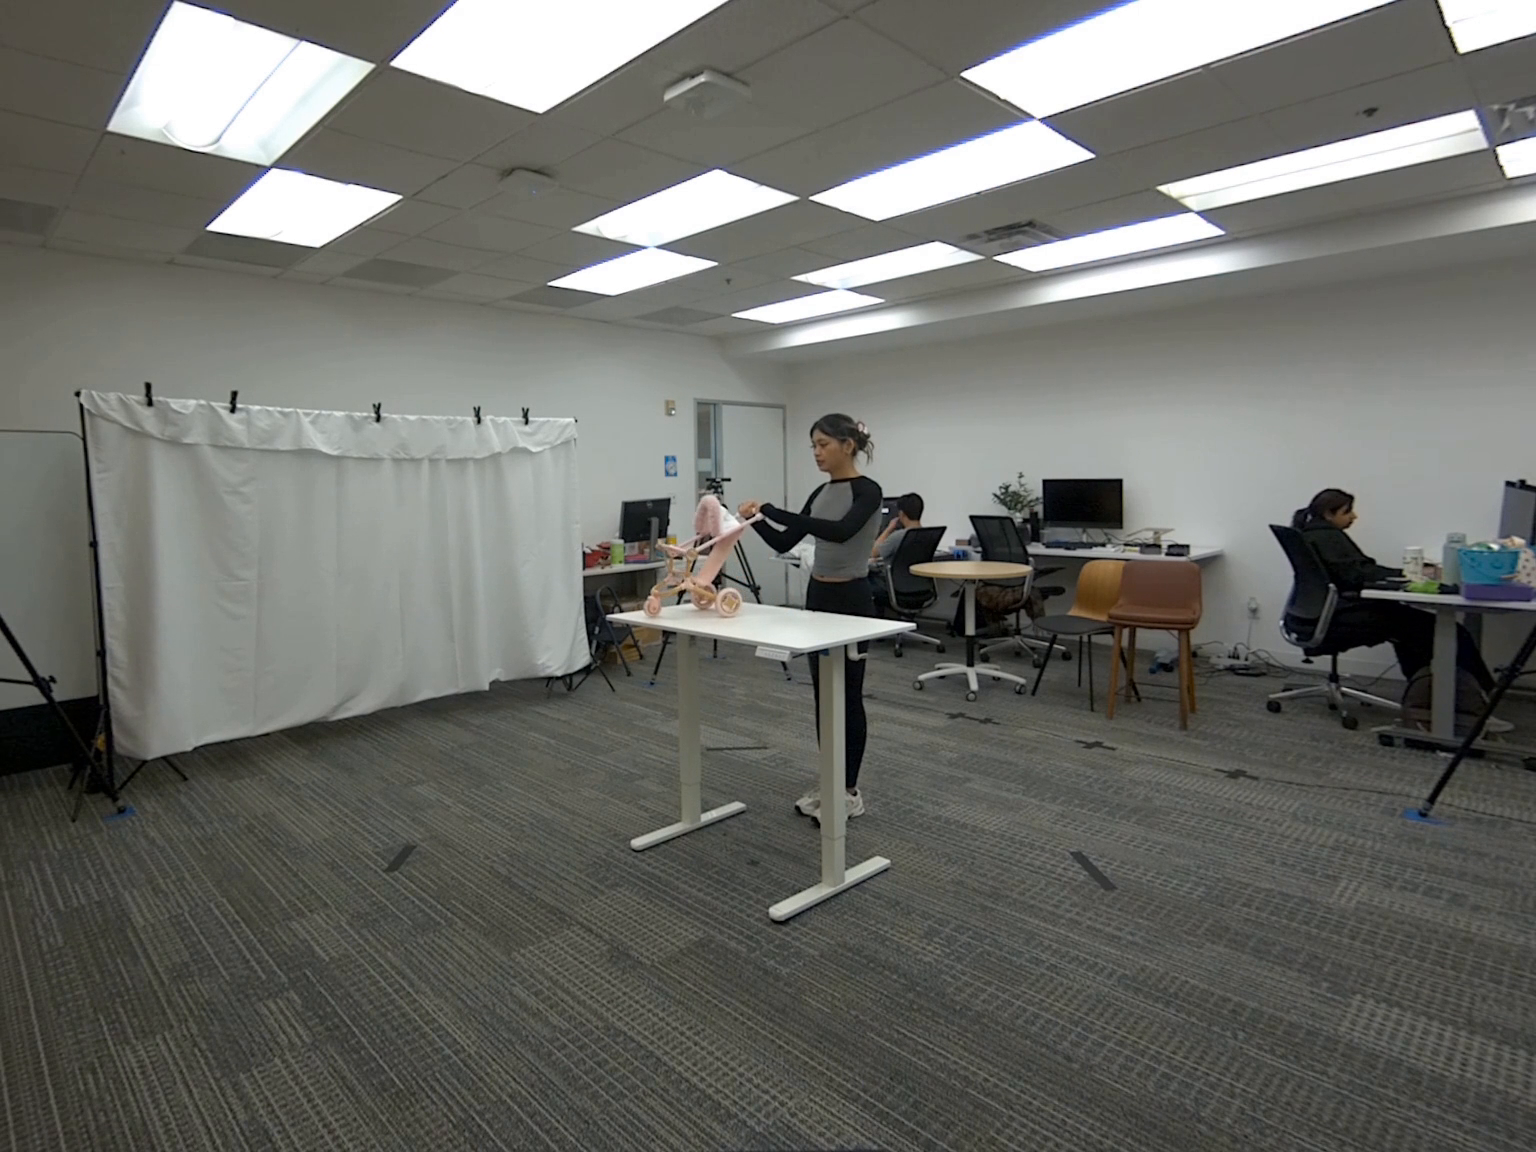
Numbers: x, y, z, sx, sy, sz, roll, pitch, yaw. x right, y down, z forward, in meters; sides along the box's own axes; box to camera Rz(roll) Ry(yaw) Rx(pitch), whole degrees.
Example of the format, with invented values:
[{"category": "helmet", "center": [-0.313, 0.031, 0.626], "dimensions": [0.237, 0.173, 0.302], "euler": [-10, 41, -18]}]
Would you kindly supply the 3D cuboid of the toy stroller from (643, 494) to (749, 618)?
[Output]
[{"category": "toy stroller", "center": [-0.243, -0.074, 3.253], "dimensions": [0.334, 0.536, 0.287], "euler": [17, -3, -20]}]
